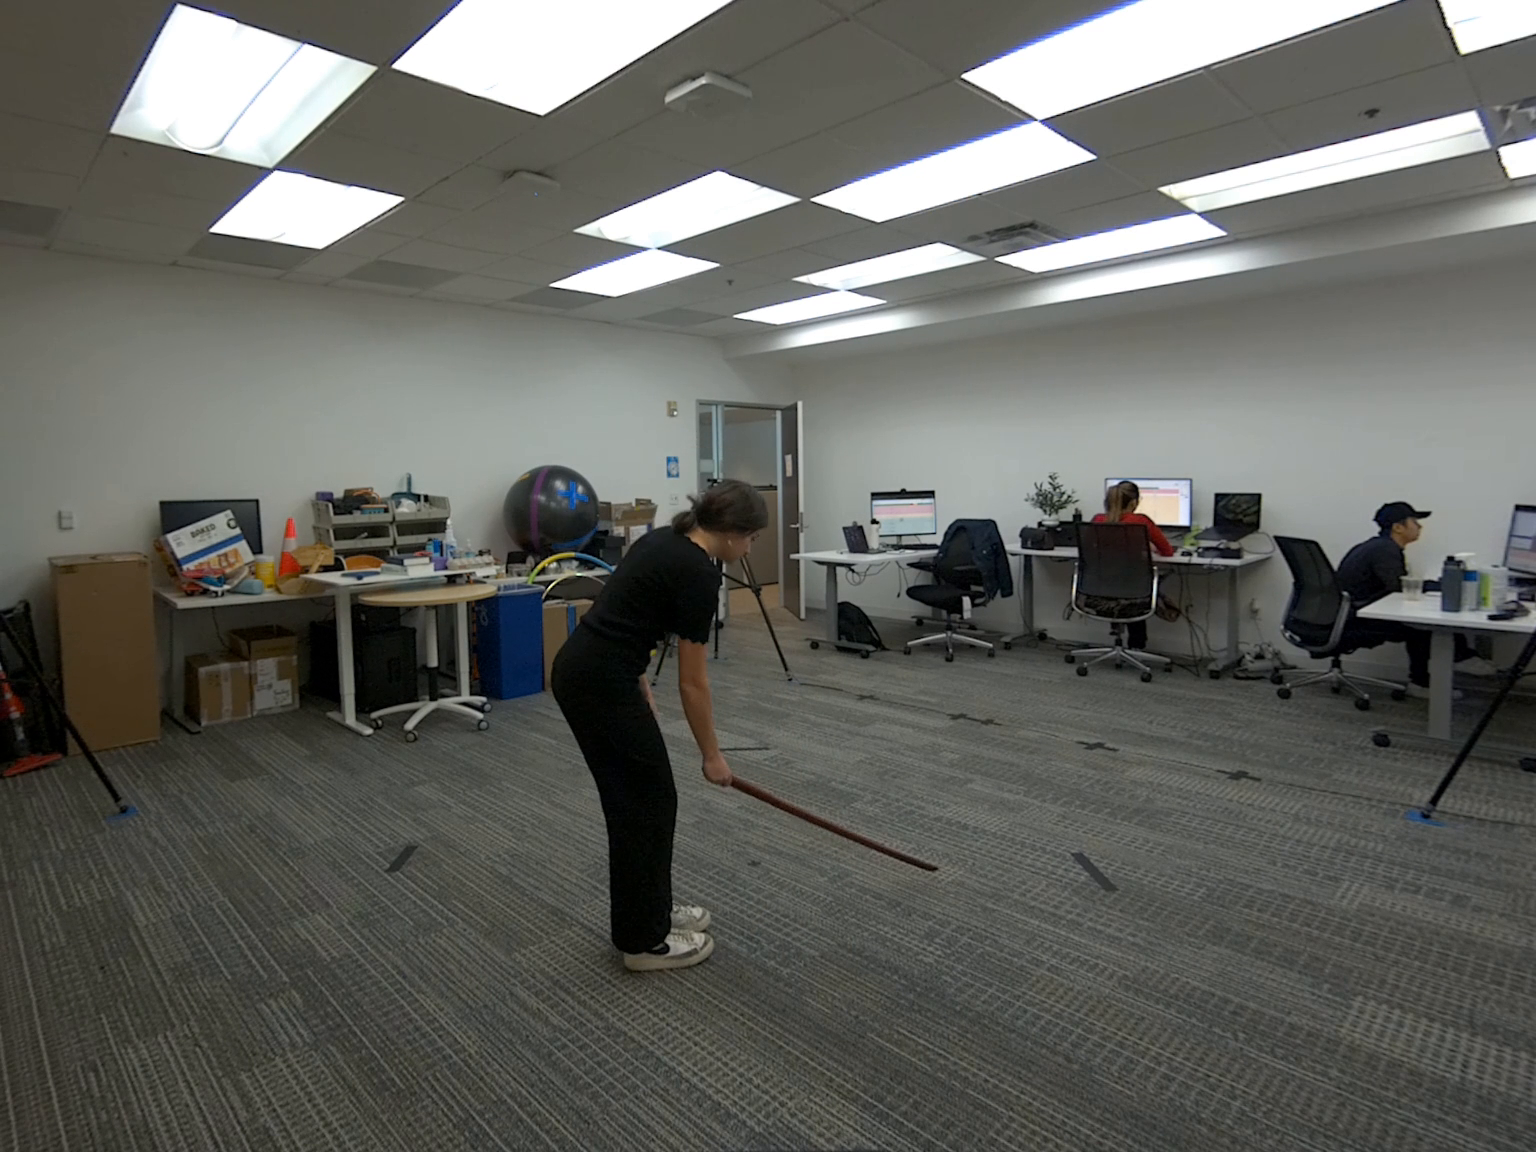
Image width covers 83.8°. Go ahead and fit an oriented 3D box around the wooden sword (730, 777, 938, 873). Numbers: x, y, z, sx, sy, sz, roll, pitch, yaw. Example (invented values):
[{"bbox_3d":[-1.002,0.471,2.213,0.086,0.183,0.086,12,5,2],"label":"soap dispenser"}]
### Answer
[{"bbox_3d":[0.193,0.797,2.711,0.993,0.051,0.025,30,18,-27],"label":"wooden sword"}]
